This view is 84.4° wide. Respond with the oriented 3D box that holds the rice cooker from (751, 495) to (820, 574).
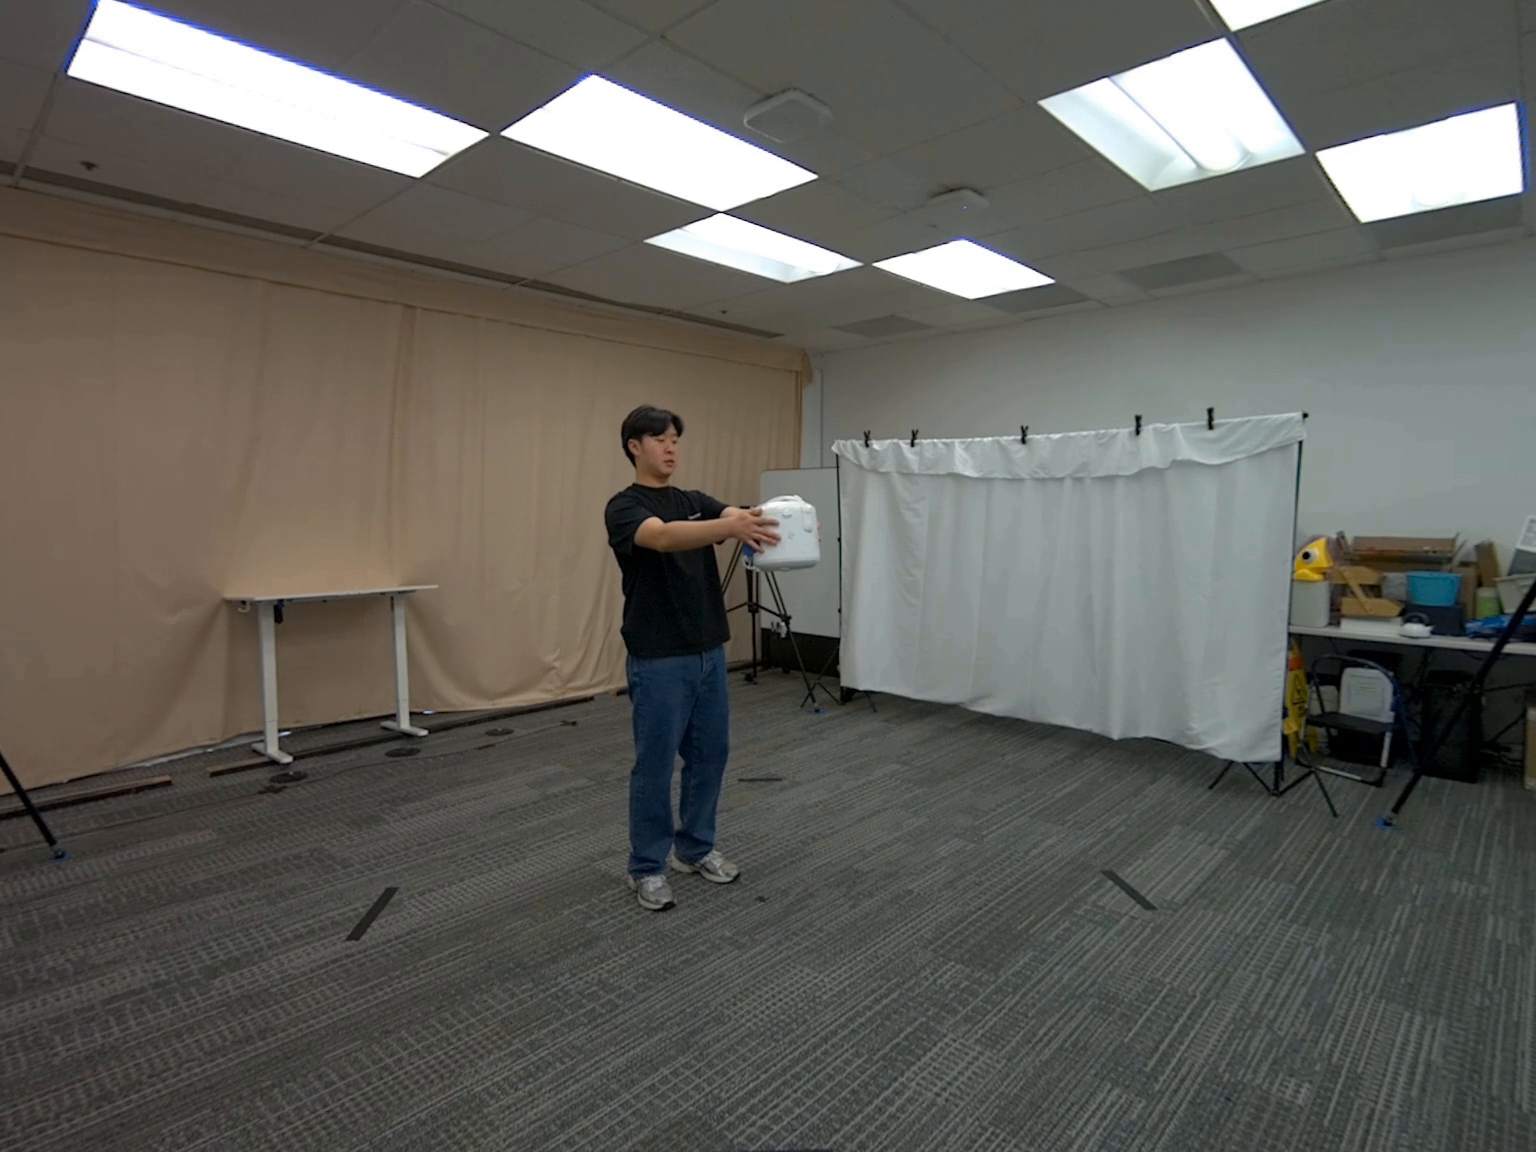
[{"bbox_3d":[0.056,-0.133,2.631,0.211,0.233,0.227,-2,-3,-44],"label":"rice cooker"}]
